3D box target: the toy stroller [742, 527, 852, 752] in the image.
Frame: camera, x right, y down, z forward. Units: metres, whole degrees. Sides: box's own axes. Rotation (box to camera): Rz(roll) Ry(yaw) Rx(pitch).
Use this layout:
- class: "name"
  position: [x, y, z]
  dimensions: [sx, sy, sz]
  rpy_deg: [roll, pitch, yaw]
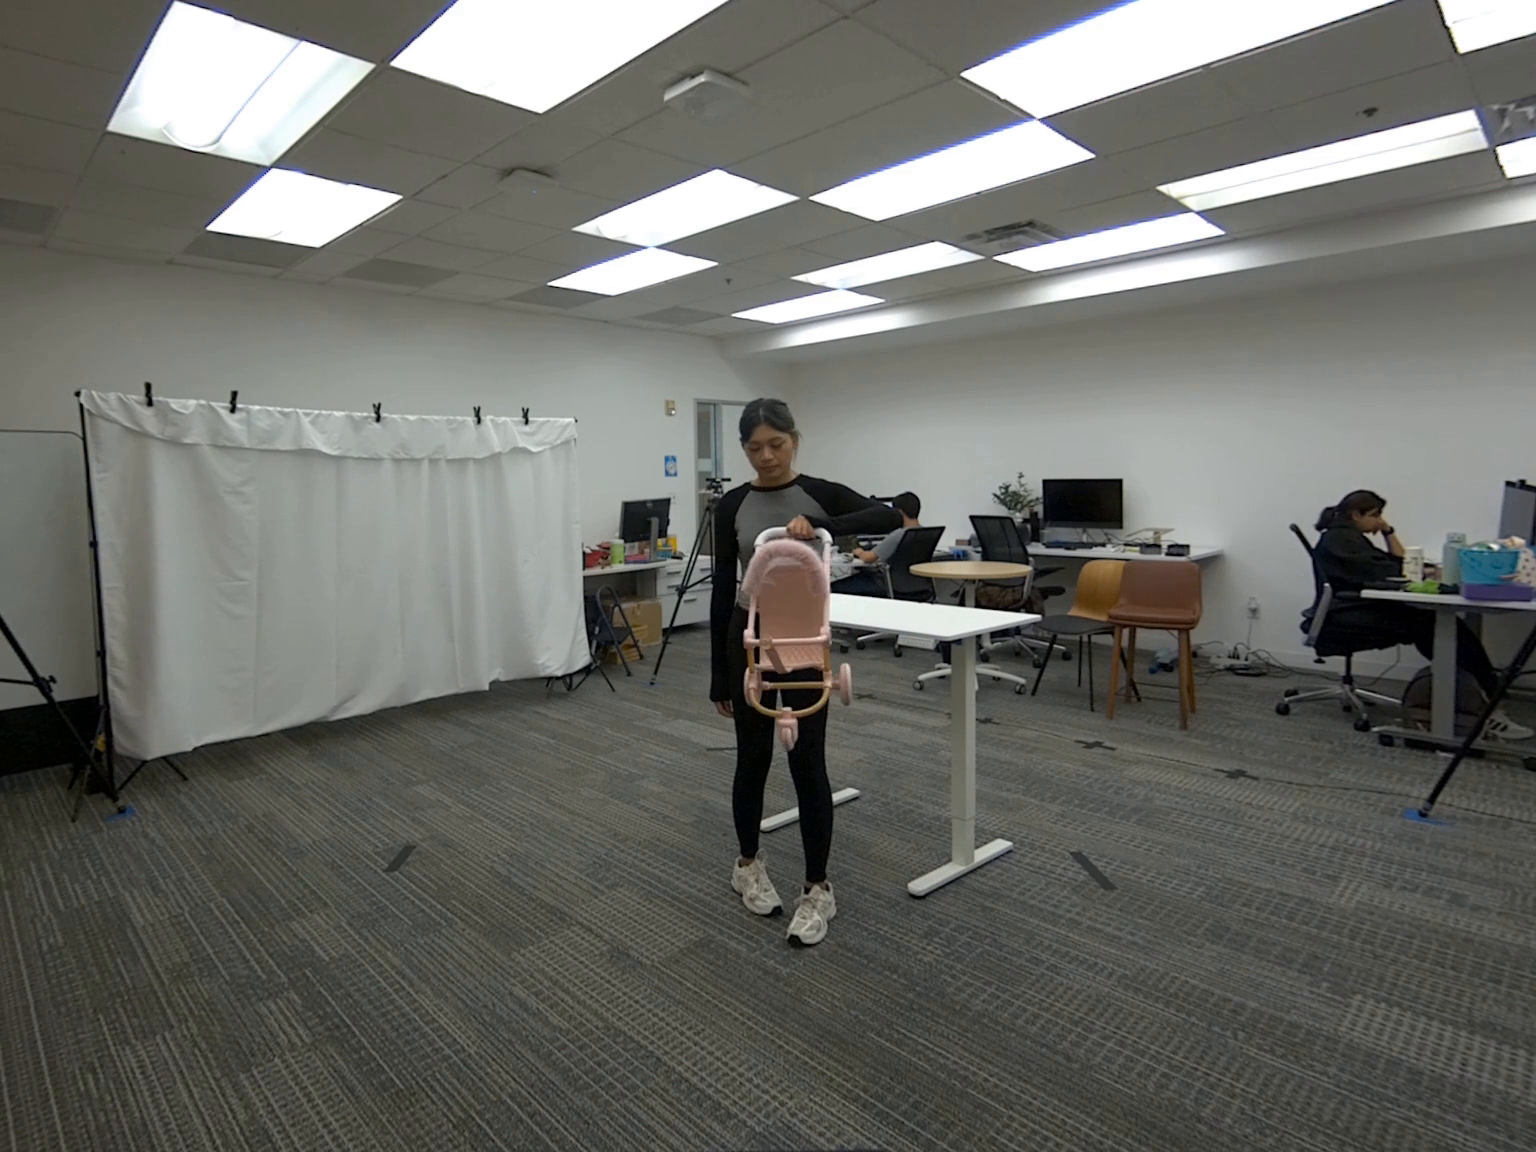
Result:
- class: "toy stroller"
  position: [0.056, 0.146, 2.166]
  dimensions: [0.285, 0.535, 0.337]
  rpy_deg: [-3, 1, 14]
